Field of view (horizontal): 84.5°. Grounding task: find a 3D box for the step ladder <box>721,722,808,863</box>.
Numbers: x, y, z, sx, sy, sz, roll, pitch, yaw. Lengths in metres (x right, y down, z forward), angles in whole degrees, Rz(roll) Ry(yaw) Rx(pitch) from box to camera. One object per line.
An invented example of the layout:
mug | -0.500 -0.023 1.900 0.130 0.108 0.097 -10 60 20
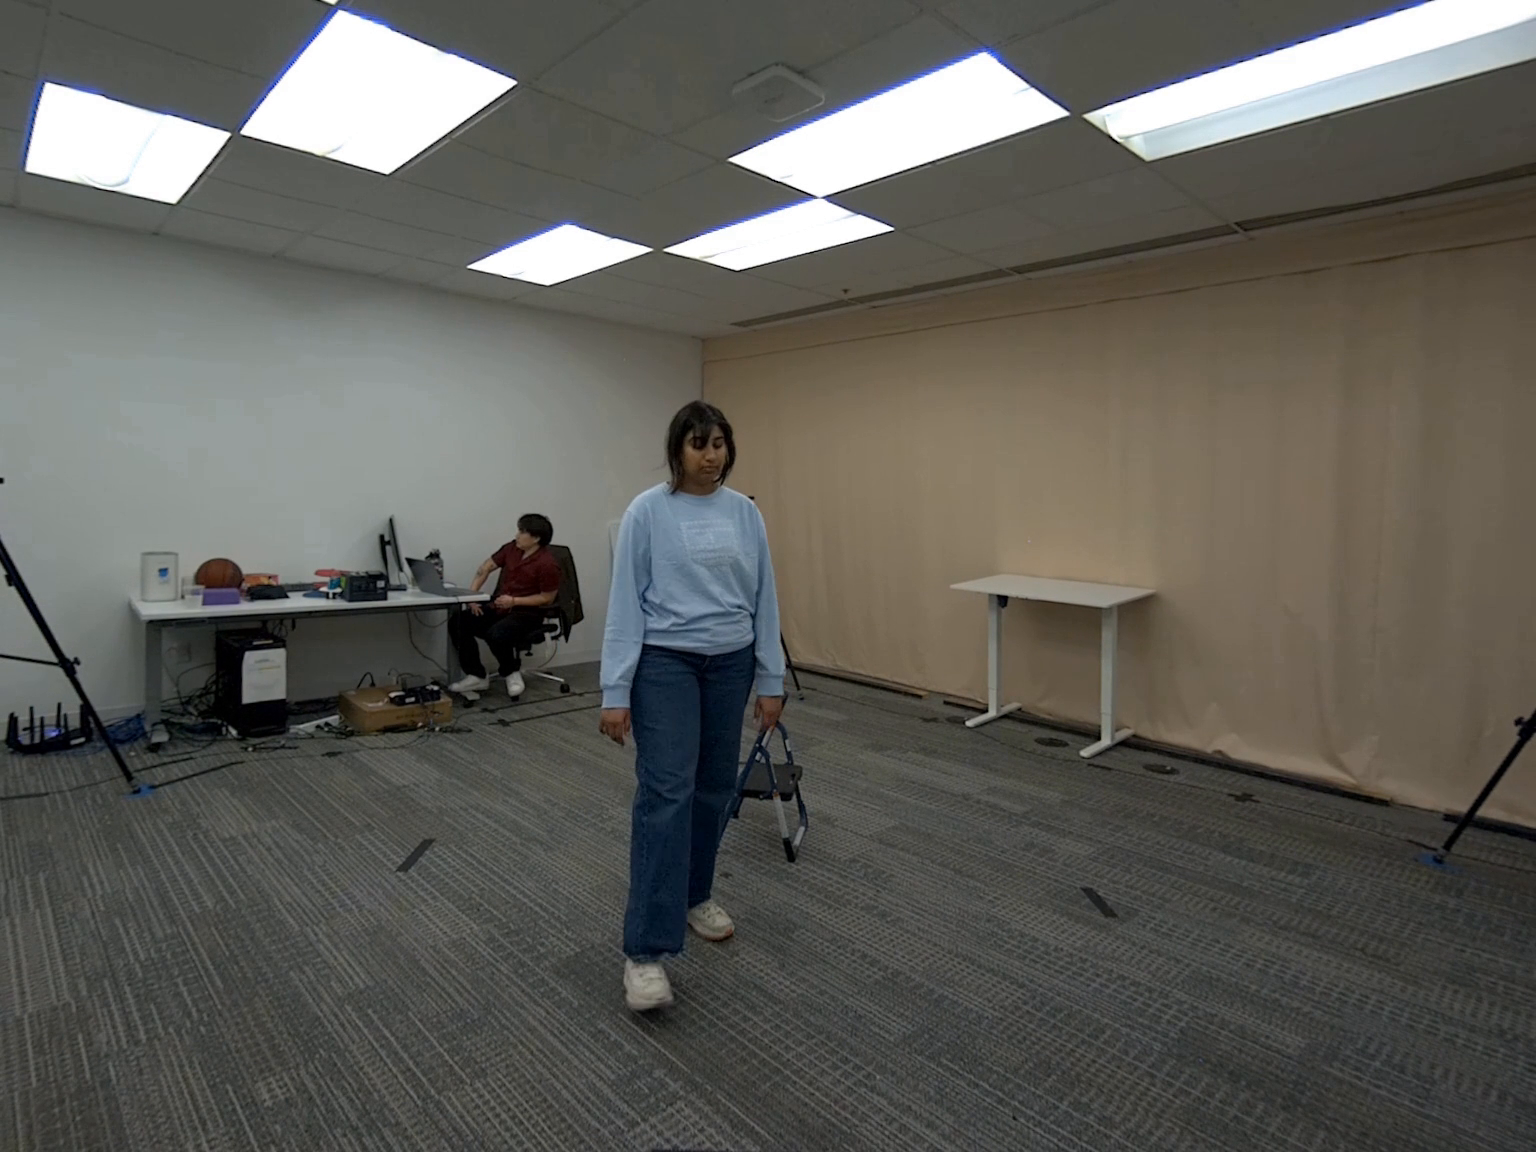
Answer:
step ladder | -0.027 0.774 3.442 0.353 0.605 0.427 2 3 11
